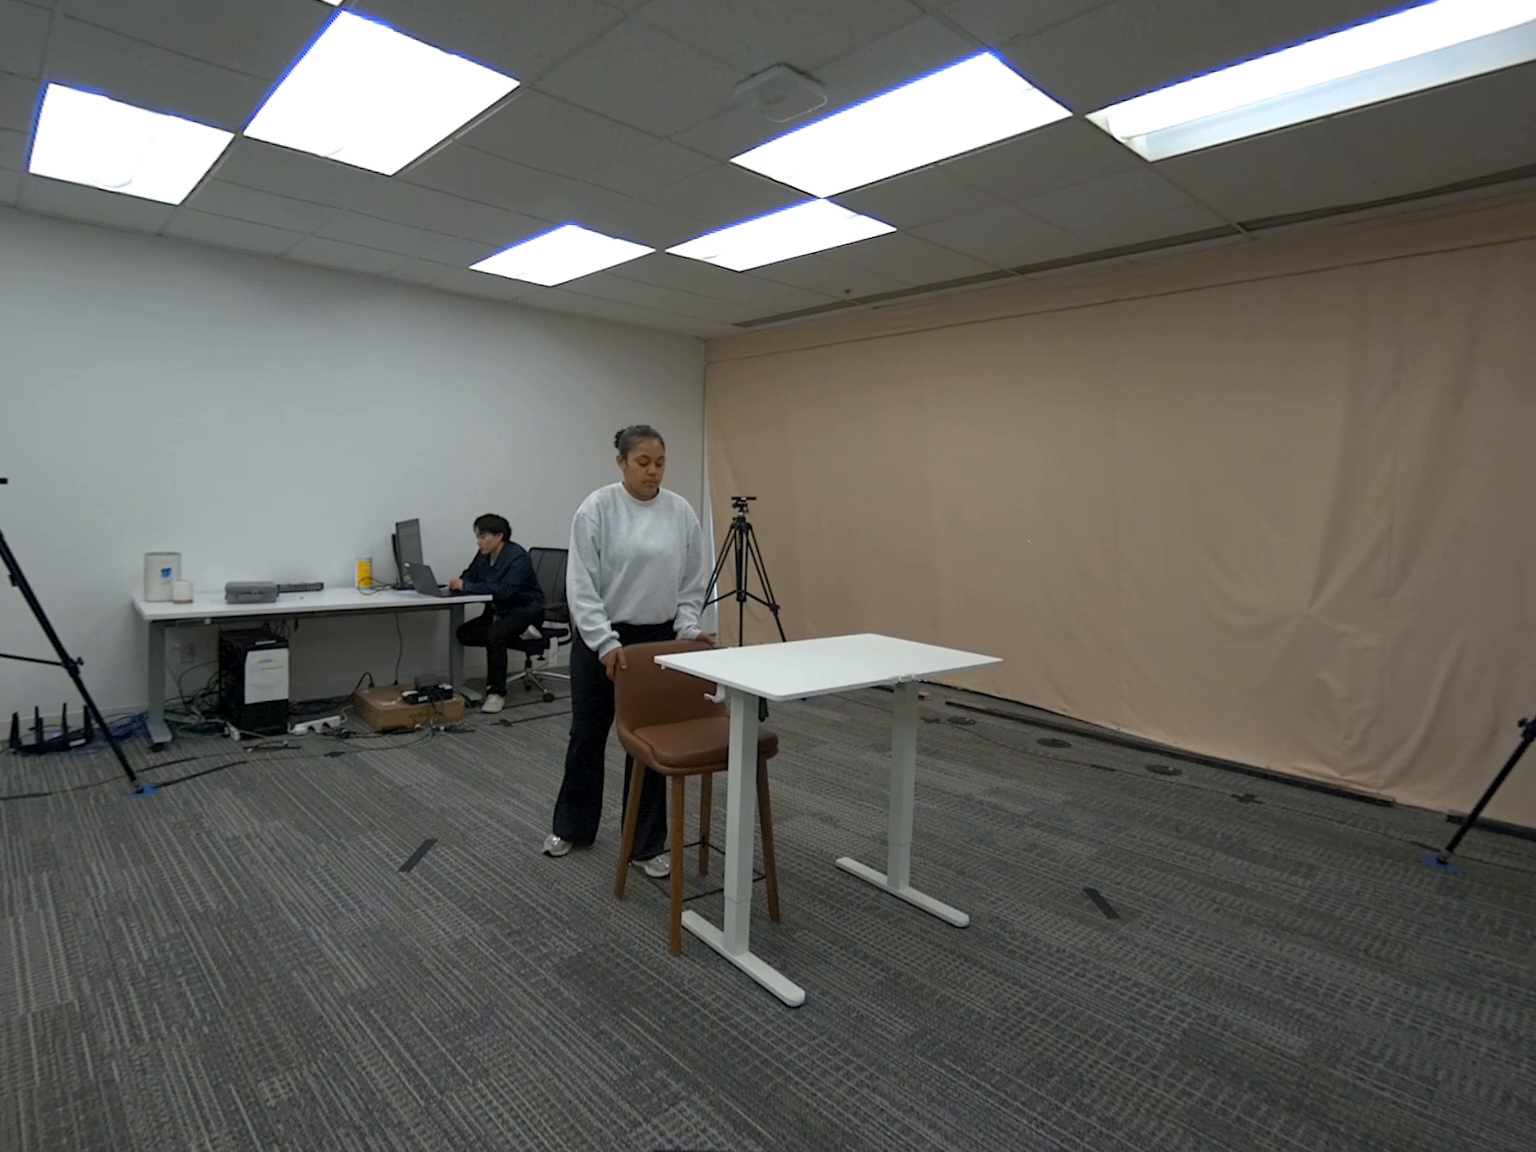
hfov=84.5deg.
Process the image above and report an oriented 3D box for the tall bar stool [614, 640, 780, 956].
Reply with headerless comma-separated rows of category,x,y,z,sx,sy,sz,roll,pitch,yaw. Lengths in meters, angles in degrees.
tall bar stool,-0.255,0.690,2.824,0.447,0.888,0.478,-1,3,-34
